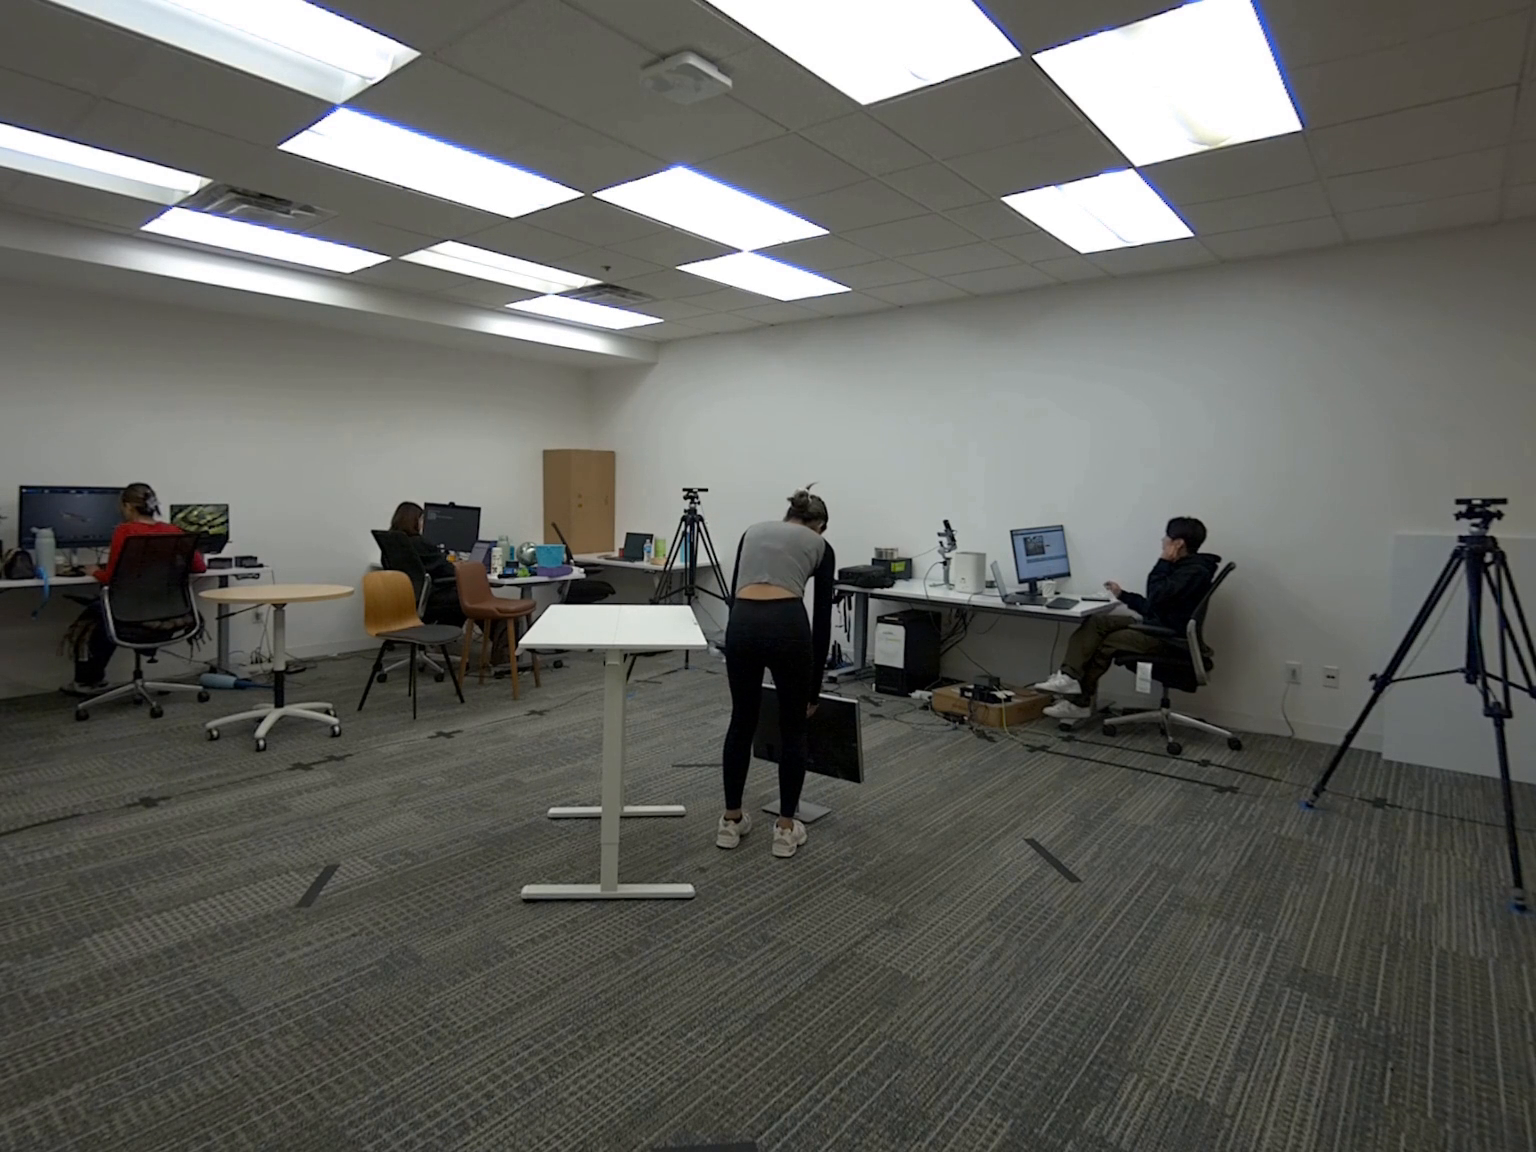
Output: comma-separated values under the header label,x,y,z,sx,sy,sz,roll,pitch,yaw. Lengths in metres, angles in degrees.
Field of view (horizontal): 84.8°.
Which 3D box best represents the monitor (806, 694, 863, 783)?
label,x,y,z,sx,sy,sz,roll,pitch,yaw
monitor,0.122,0.758,3.687,0.556,0.522,0.181,4,2,35
